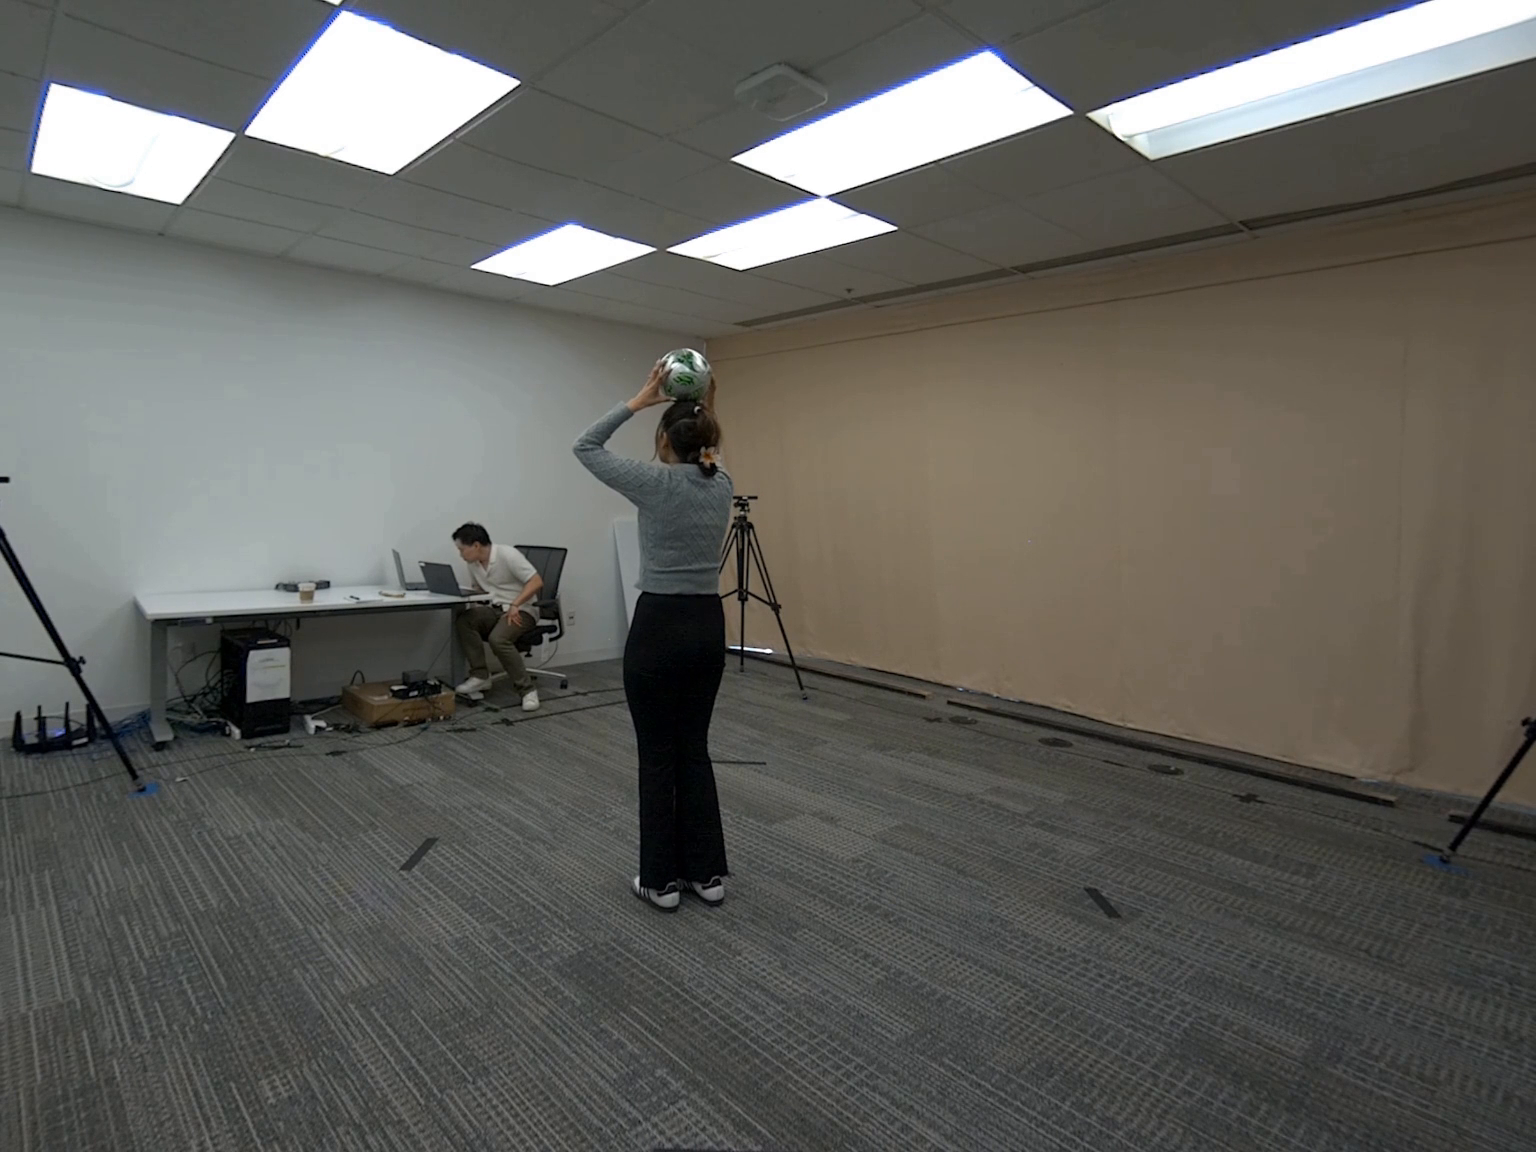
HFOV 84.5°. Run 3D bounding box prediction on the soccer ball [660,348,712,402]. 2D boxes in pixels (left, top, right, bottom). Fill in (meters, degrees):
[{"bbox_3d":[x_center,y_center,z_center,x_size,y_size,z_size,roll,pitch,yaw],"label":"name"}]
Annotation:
[{"bbox_3d":[-0.300,-0.686,2.892,0.187,0.187,0.188,1,4,-1],"label":"soccer ball"}]
